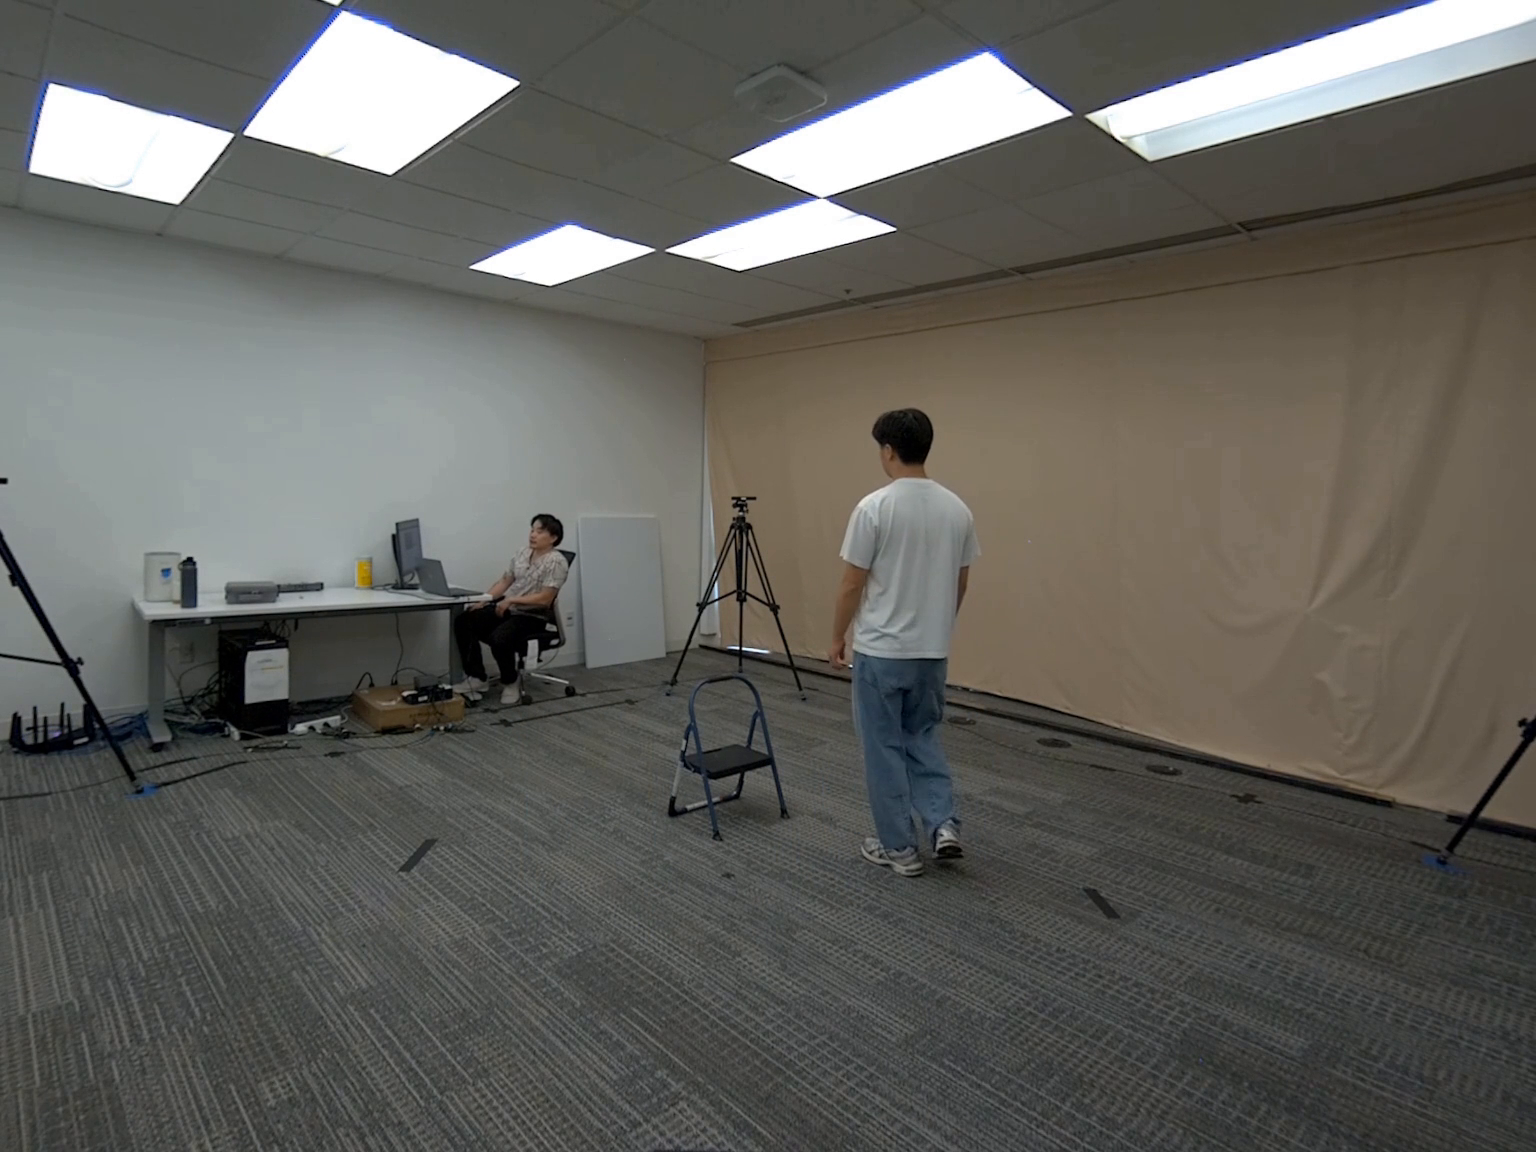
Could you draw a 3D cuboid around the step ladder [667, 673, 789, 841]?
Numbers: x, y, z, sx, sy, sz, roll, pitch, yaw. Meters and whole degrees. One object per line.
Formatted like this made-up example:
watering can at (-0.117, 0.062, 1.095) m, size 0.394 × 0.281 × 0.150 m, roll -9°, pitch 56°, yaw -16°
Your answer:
step ladder at (-0.173, 0.750, 3.673) m, size 0.420 × 0.604 × 0.358 m, roll -1°, pitch 5°, yaw -43°
